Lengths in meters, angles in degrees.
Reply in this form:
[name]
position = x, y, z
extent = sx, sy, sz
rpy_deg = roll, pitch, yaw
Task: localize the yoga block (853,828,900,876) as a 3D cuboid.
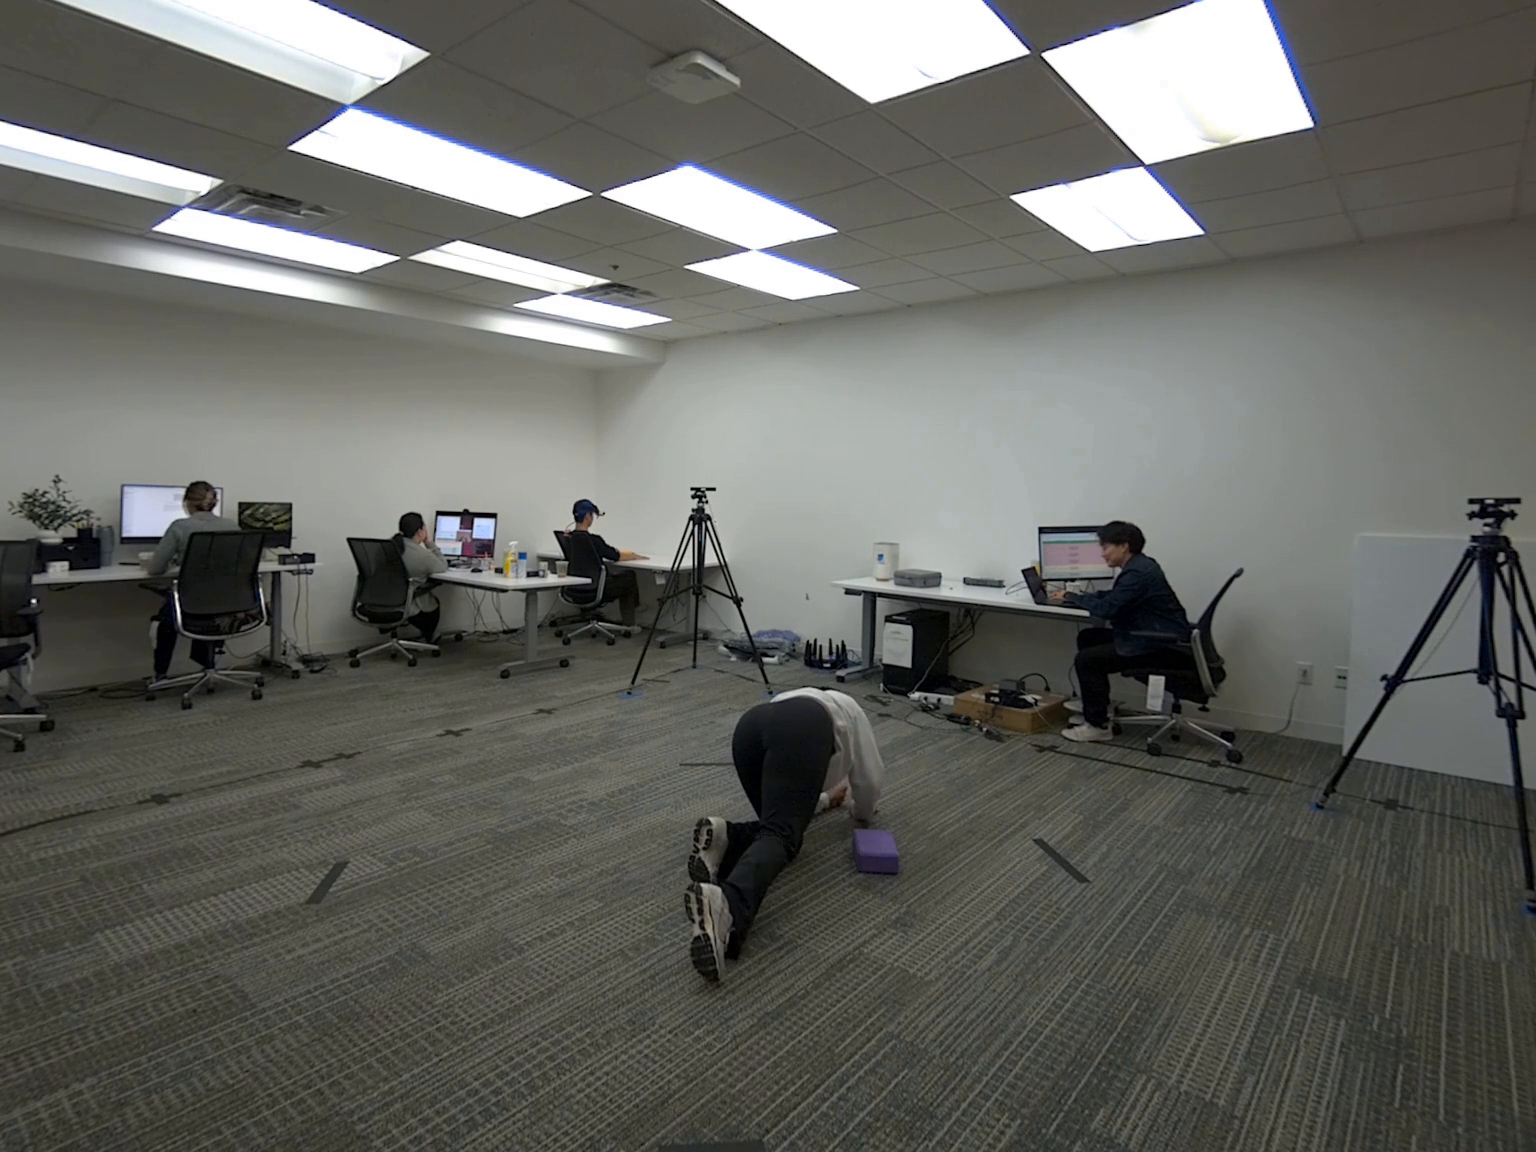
[yoga block]
position = 0.396, 1.035, 3.208
extent = 0.149, 0.076, 0.229
rpy_deg = 1, 5, 1
